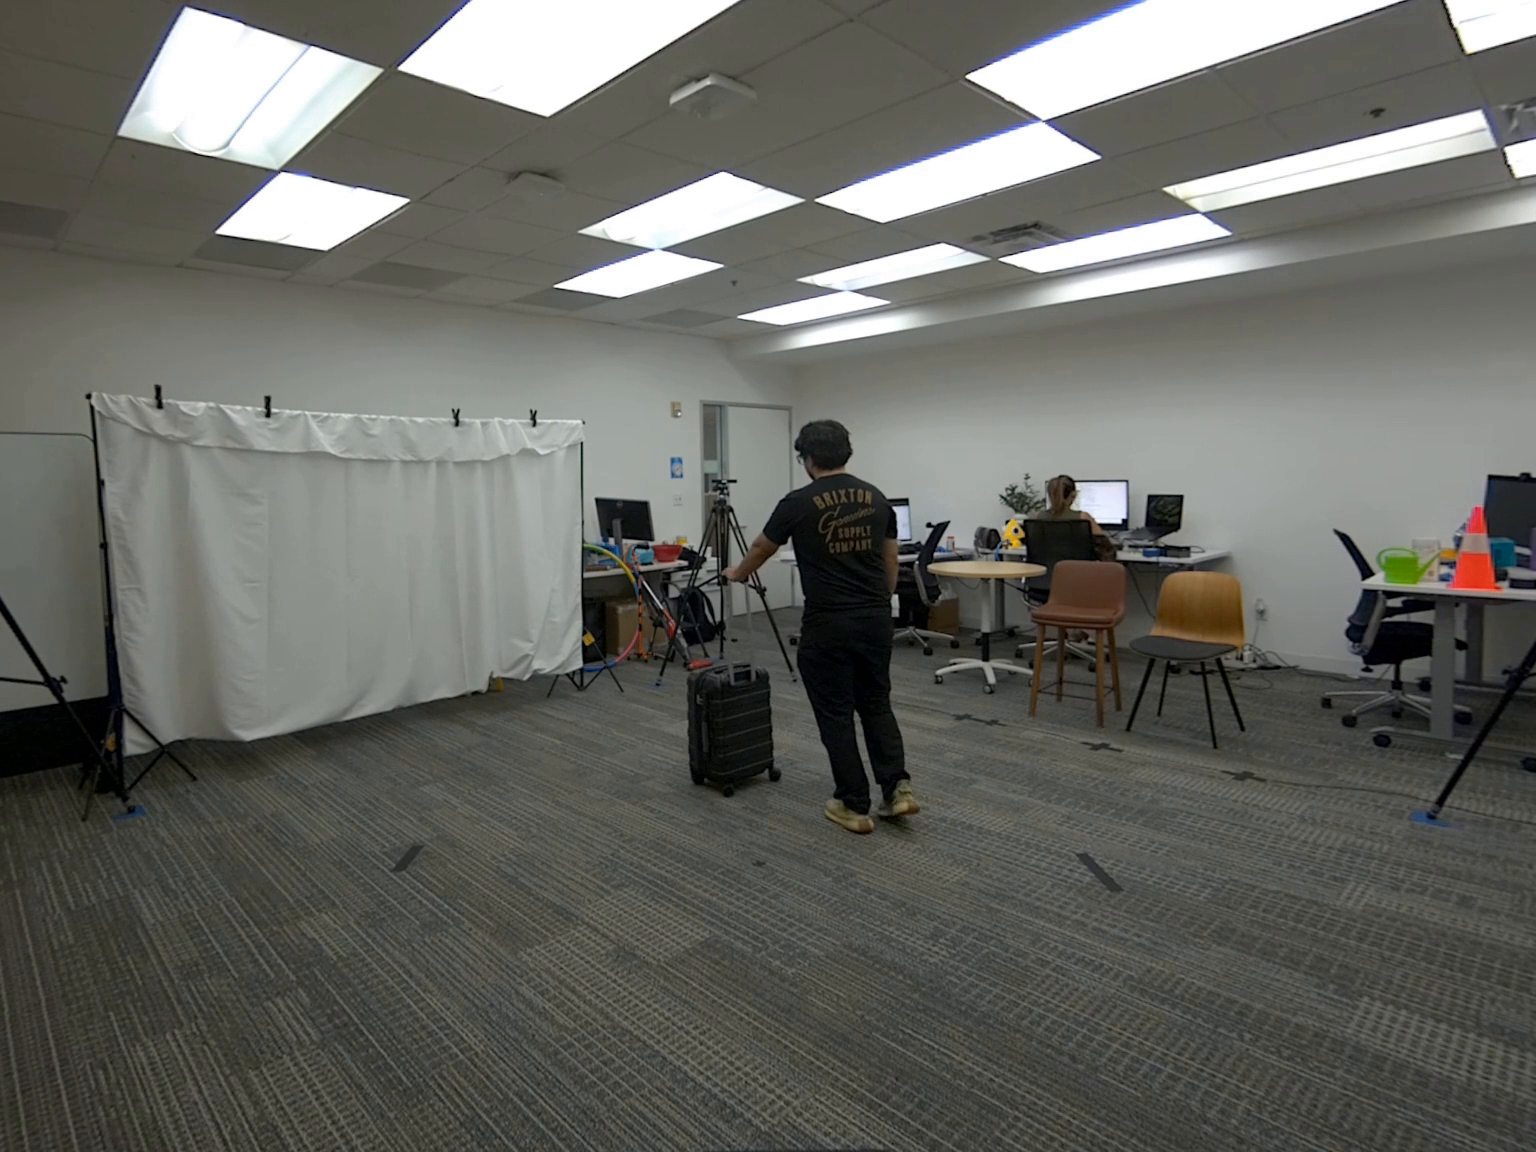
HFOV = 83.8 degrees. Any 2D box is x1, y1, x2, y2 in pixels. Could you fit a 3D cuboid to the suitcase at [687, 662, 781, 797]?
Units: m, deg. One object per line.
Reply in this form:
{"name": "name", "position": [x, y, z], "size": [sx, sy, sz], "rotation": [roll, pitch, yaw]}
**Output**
{"name": "suitcase", "position": [-0.189, 0.480, 3.953], "size": [0.374, 0.977, 0.264], "rotation": [-5, 2, -38]}
